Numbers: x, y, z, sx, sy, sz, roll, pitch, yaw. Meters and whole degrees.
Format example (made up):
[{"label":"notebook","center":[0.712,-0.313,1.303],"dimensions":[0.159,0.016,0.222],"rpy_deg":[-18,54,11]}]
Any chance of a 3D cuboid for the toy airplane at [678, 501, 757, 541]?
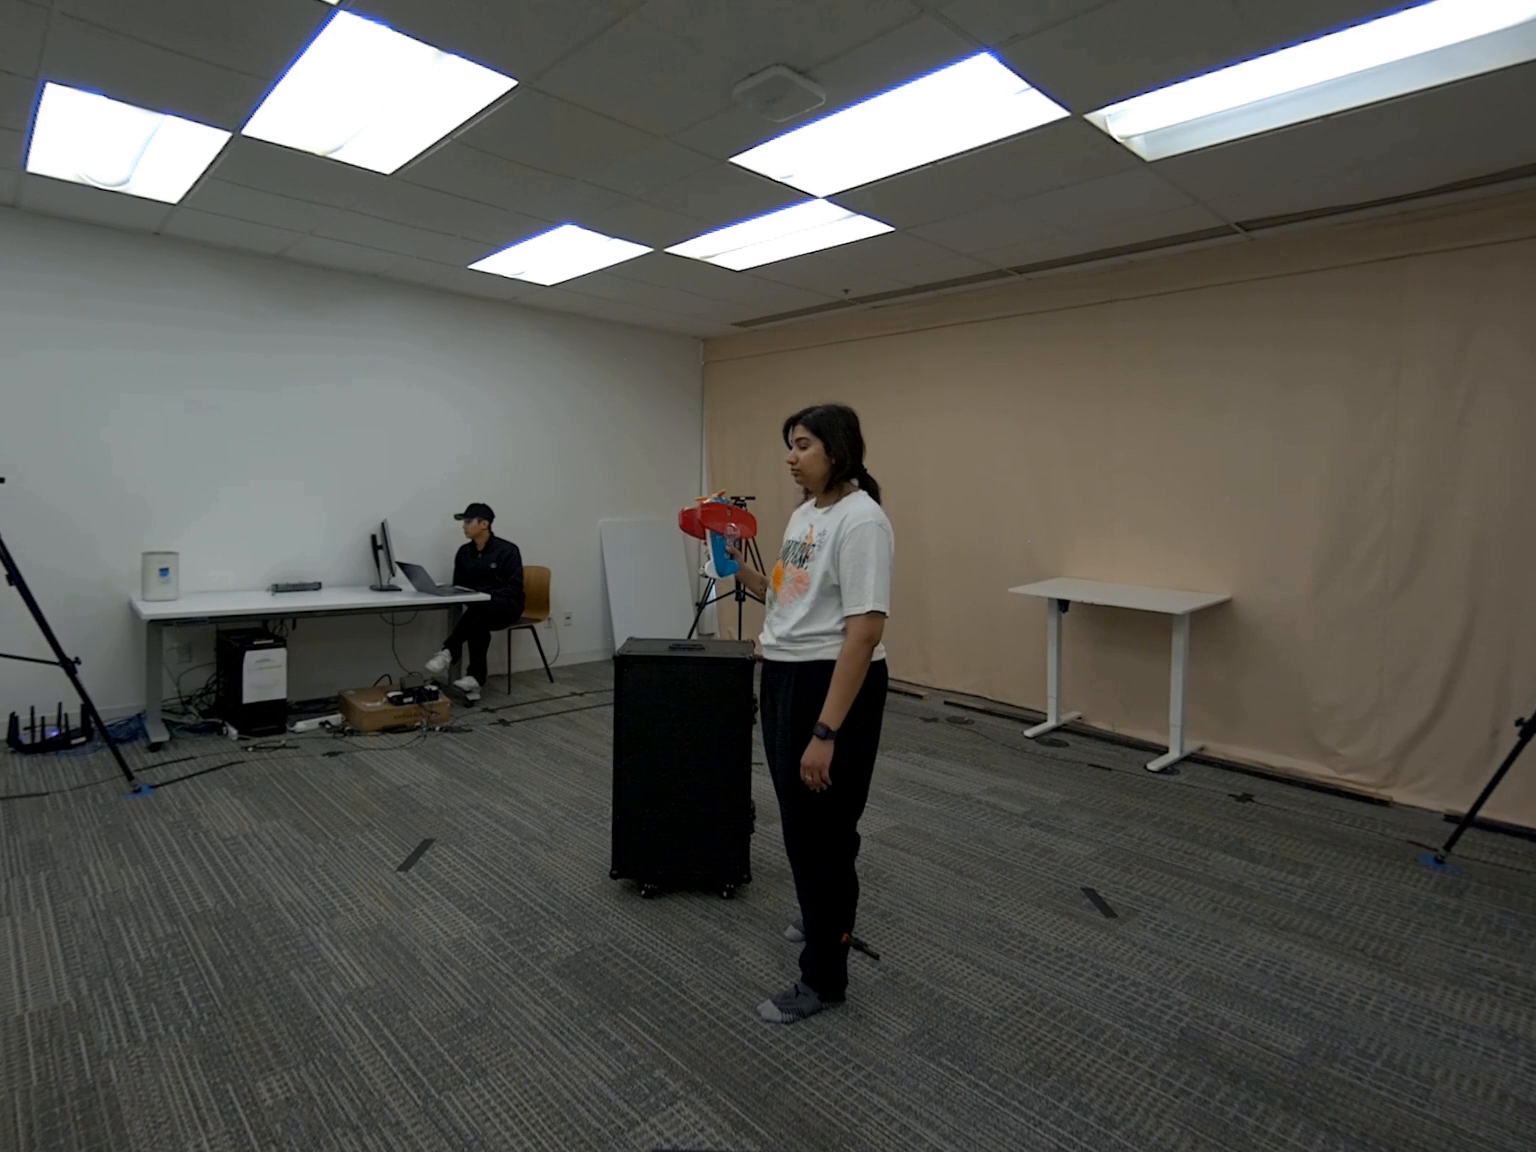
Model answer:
[{"label":"toy airplane","center":[-0.146,-0.113,2.555],"dimensions":[0.157,0.259,0.249],"rpy_deg":[-33,0,34]}]
